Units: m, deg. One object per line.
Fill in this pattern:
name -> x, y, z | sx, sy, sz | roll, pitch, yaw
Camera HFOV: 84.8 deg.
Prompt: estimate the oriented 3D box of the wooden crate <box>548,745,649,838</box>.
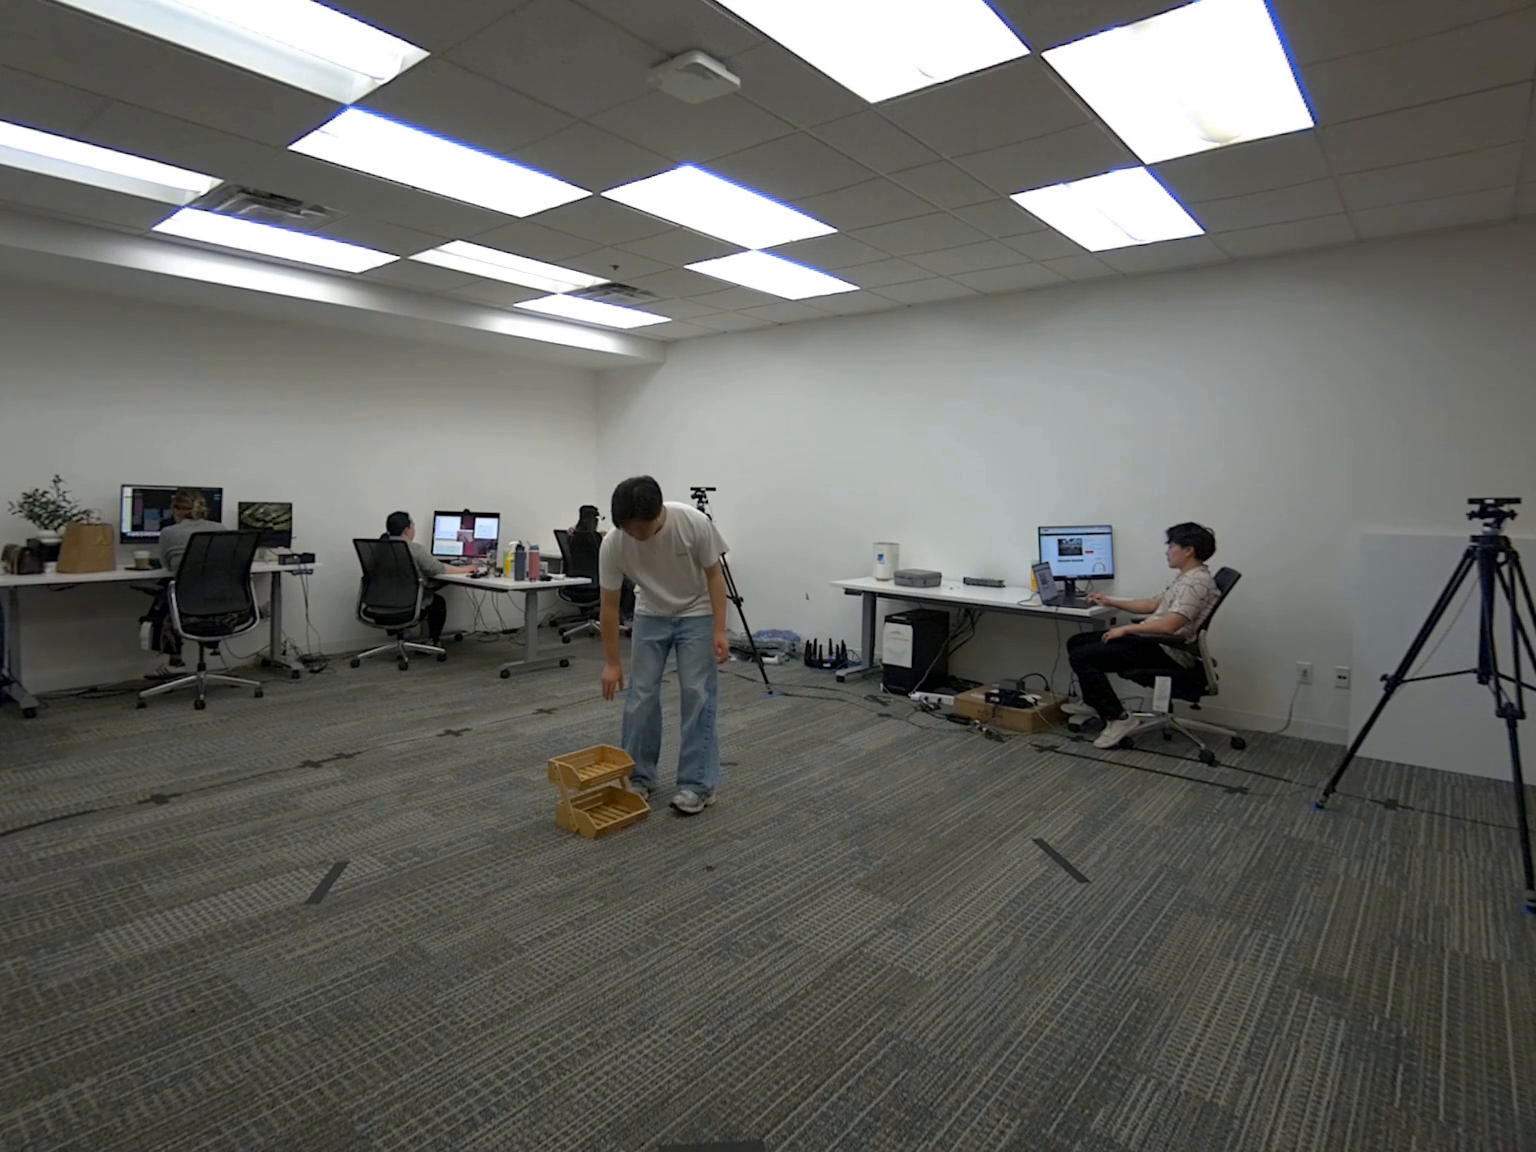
wooden crate -> -0.715, 0.883, 3.534 | 0.312, 0.273, 0.315 | 3, 4, 38
